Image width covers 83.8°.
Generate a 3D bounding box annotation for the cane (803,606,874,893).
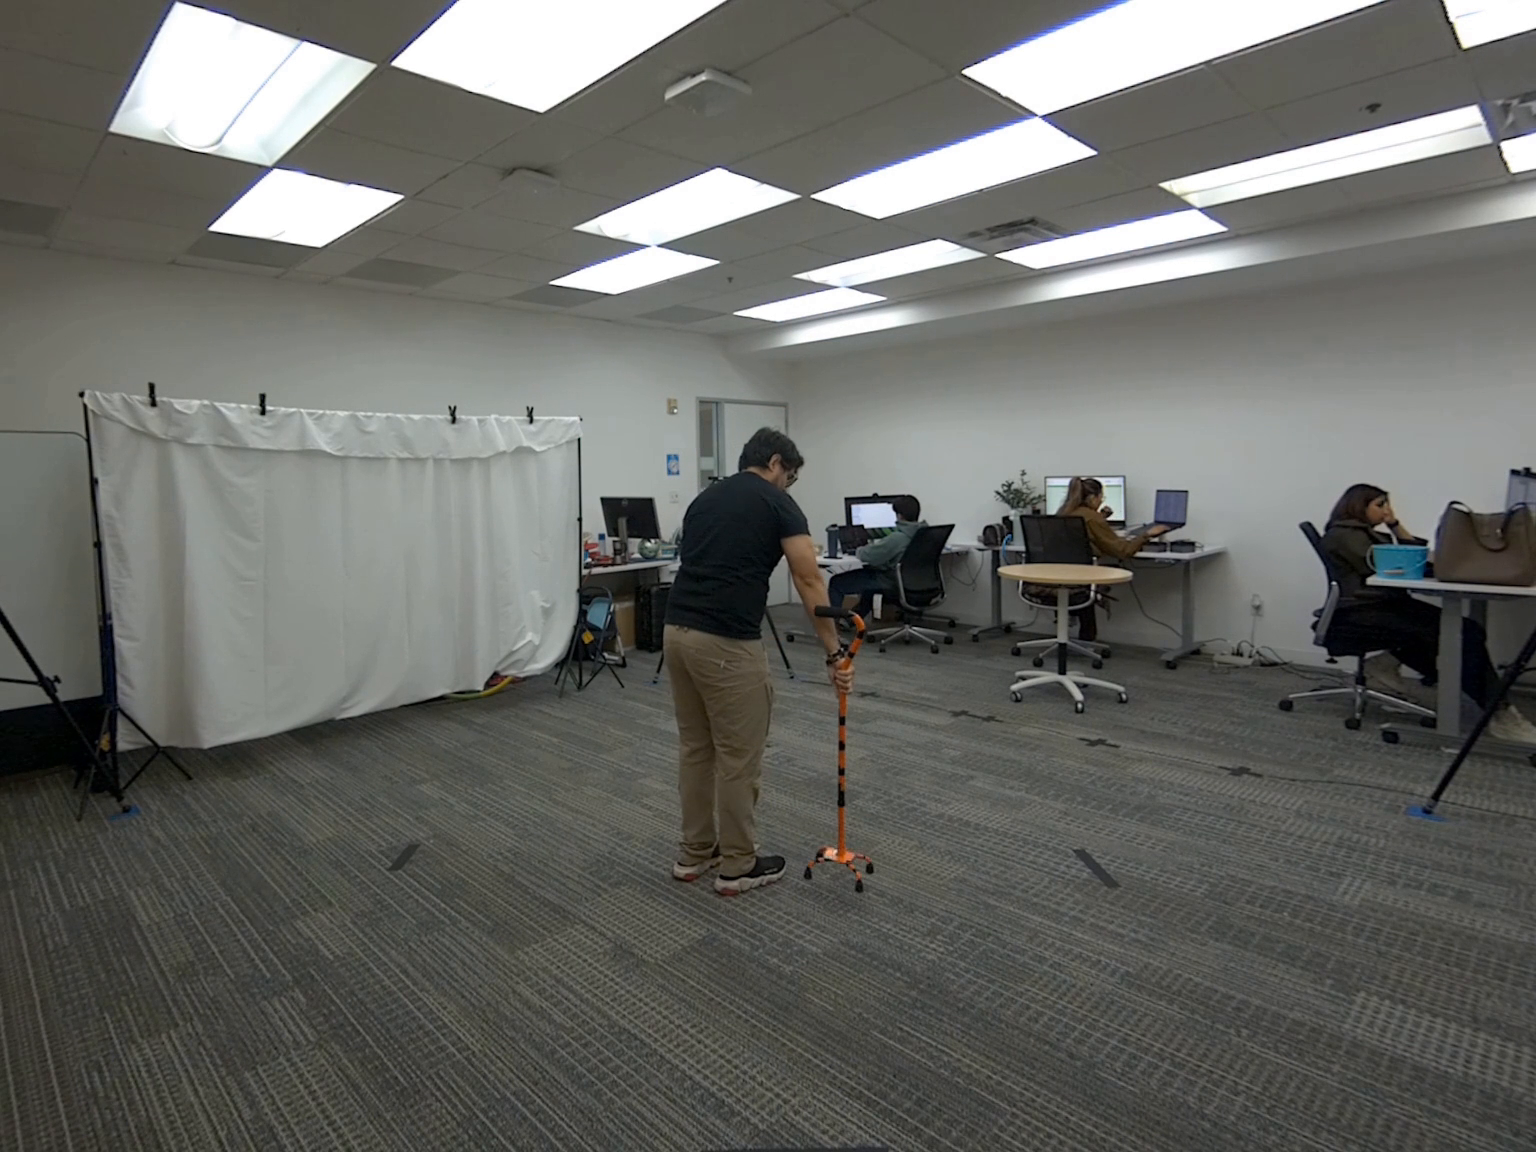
[{"bbox_3d":[0.241,0.557,2.786,0.211,0.900,0.149,5,10,24],"label":"cane"}]
